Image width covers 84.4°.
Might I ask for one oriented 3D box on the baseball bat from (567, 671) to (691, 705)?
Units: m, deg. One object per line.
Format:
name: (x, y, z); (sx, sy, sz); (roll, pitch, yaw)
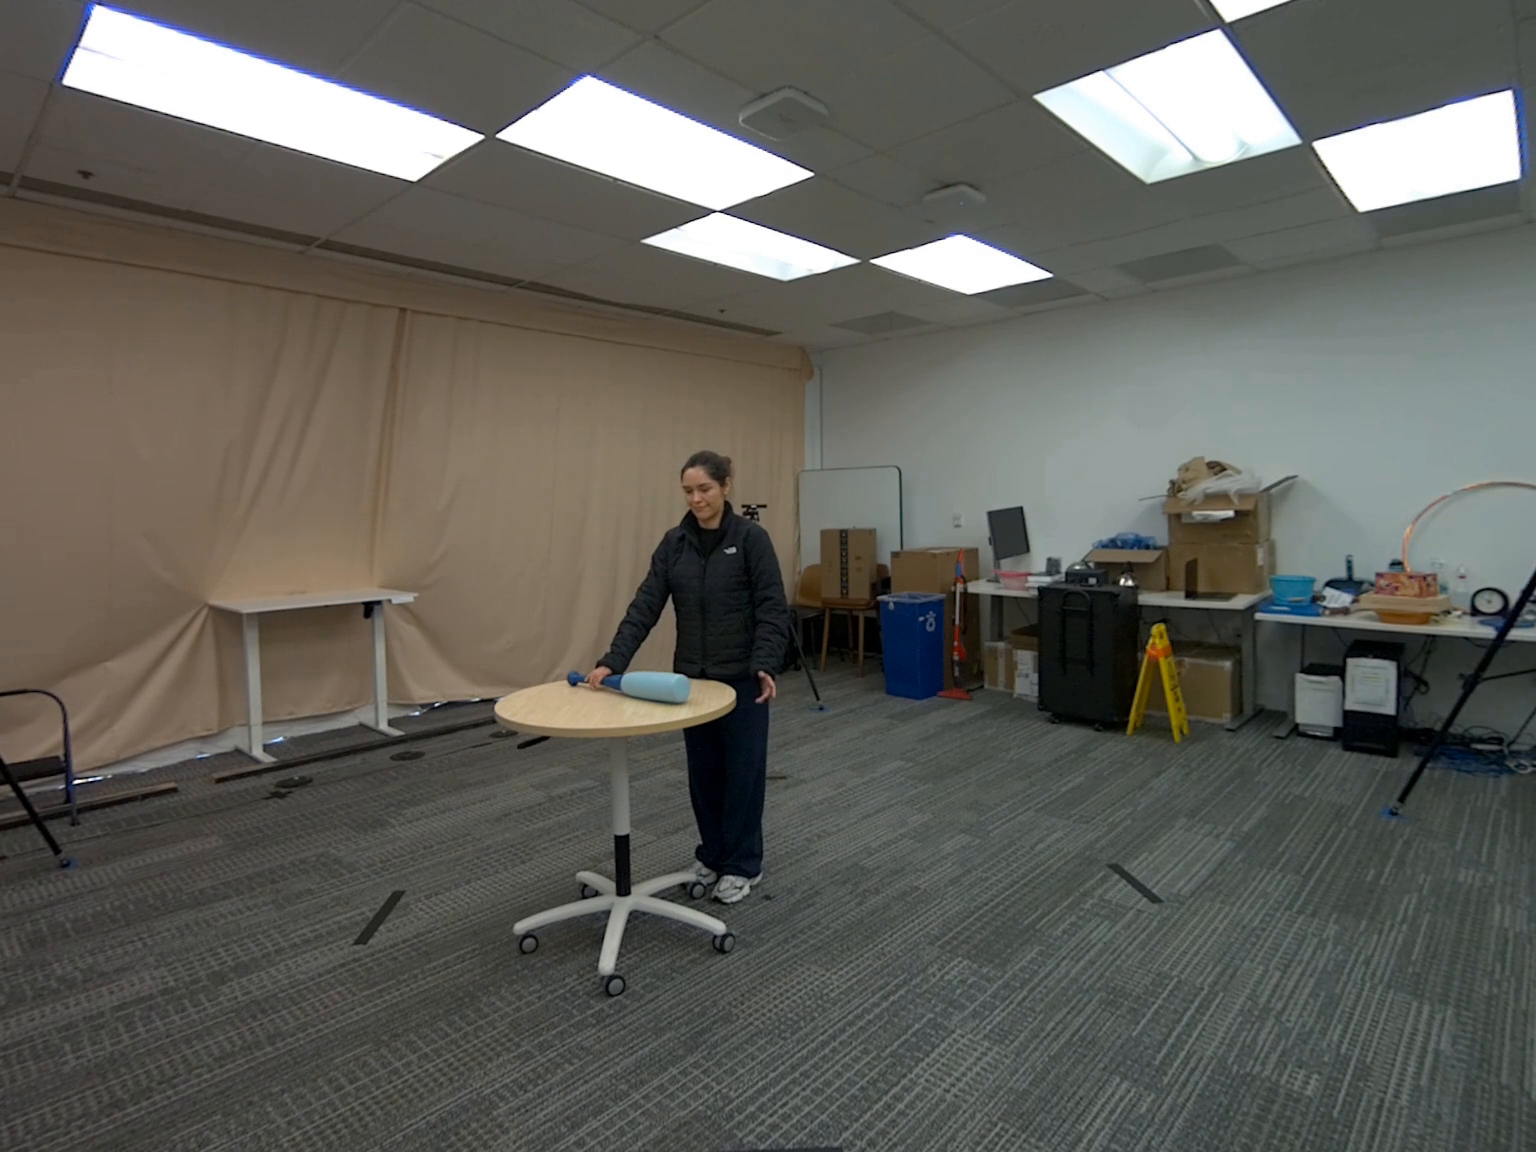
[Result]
baseball bat: (-0.447, 0.346, 2.753); (0.560, 0.089, 0.086); (-3, 2, 40)
